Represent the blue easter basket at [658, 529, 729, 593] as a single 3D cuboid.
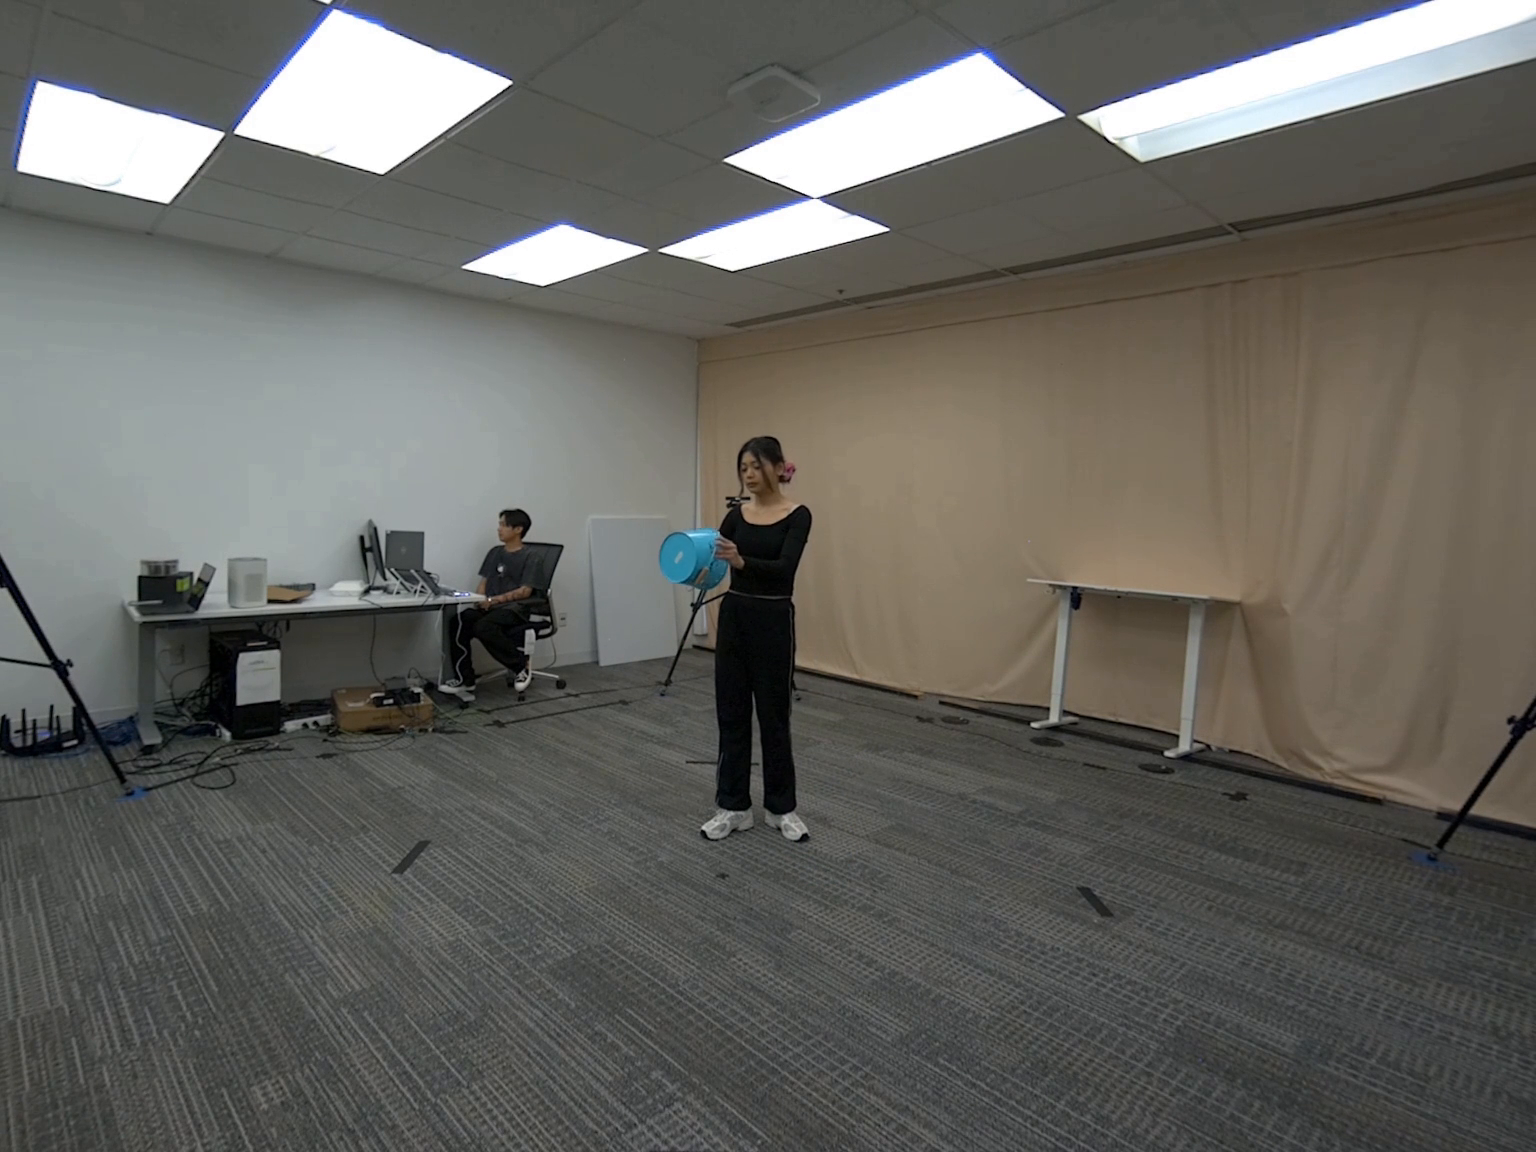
[{"bbox_3d":[-0.286,-0.061,3.060,0.249,0.243,0.152,4,1,37],"label":"blue easter basket"}]
